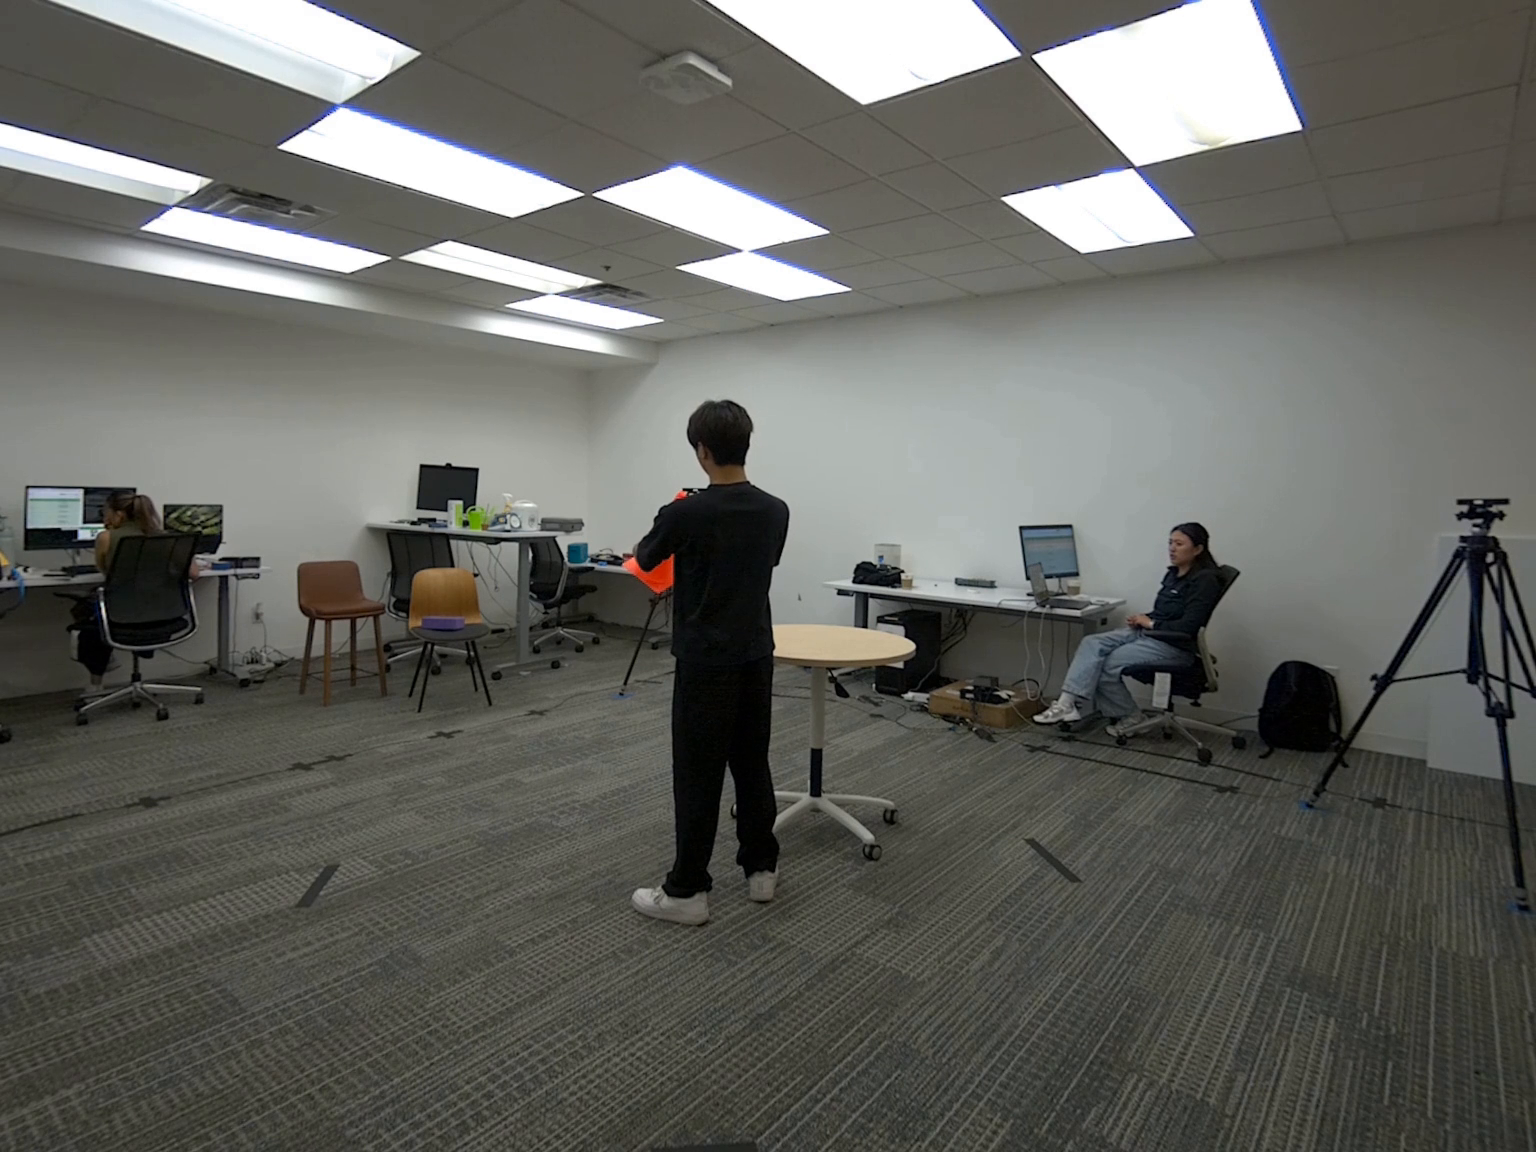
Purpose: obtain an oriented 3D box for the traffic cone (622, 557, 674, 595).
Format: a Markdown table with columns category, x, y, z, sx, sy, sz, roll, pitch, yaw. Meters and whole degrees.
| category | x | y | z | sx | sy | sz | roll | pitch | yaw |
| --- | --- | --- | --- | --- | --- | --- | --- | --- | --- |
| traffic cone | -0.391 | -0.165 | 3.252 | 0.211 | 0.378 | 0.200 | 37 | 38 | 21 |
